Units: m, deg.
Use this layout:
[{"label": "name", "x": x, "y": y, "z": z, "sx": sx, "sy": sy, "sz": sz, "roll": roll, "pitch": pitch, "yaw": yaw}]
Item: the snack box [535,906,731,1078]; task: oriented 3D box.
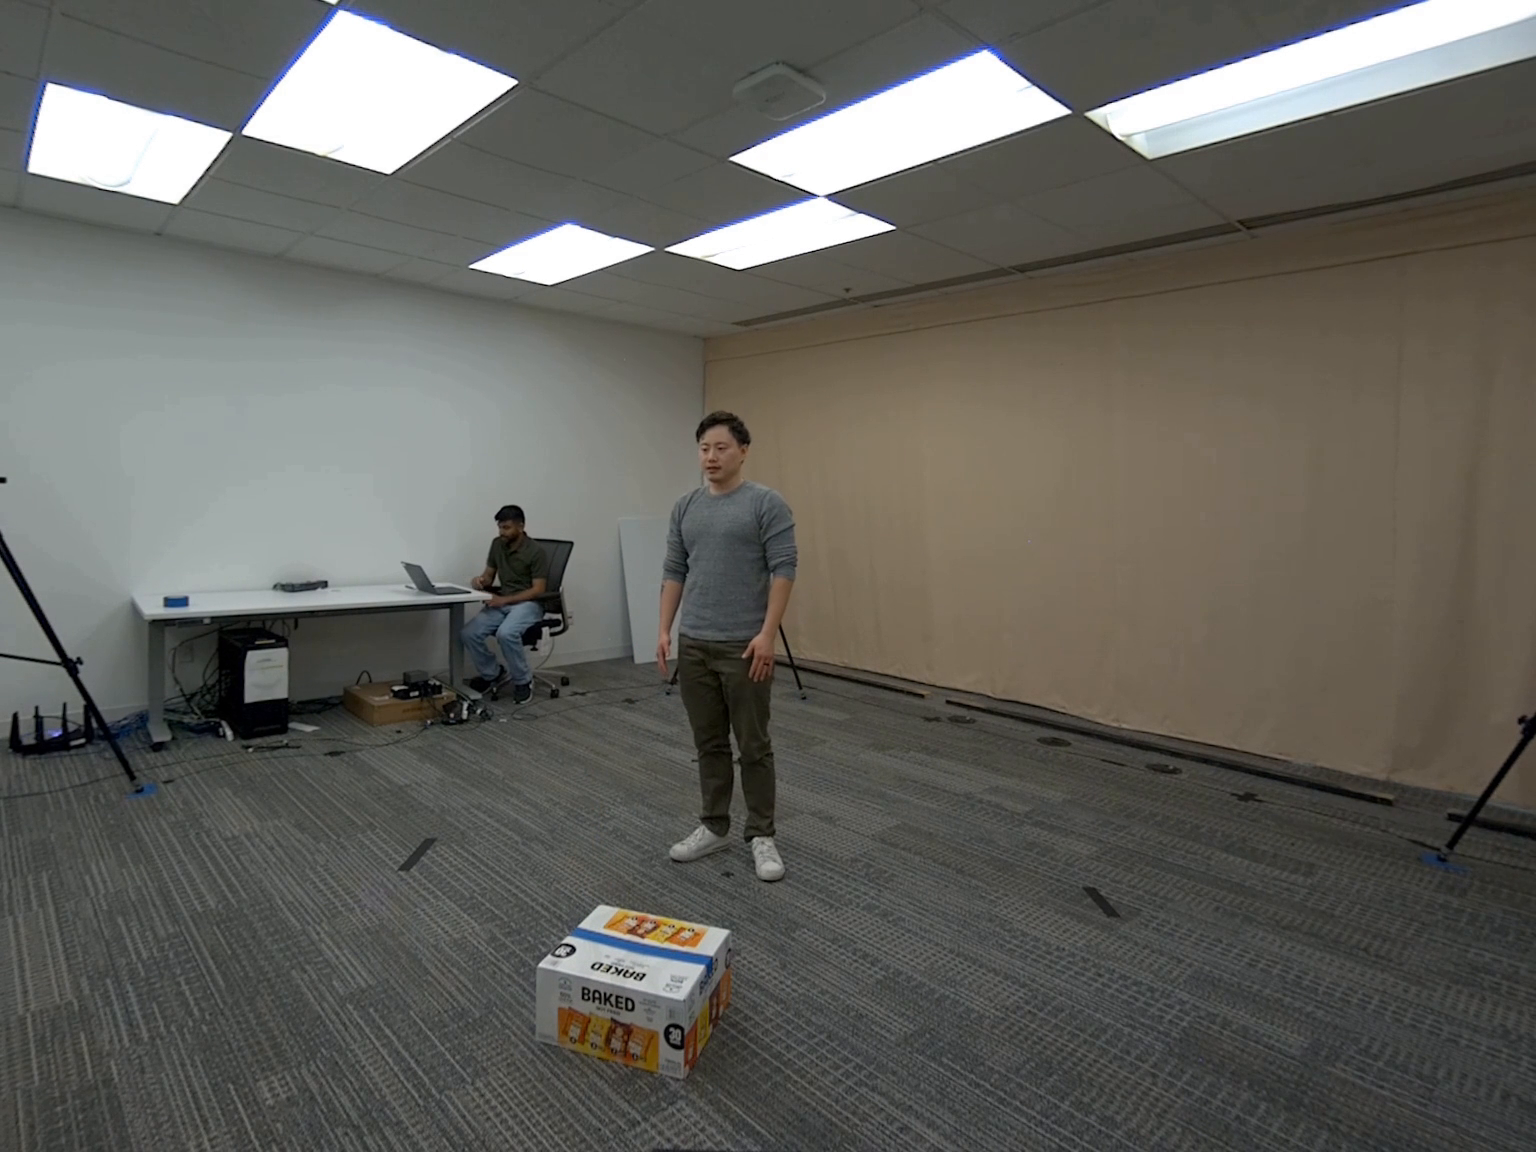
[{"label": "snack box", "x": -0.351, "y": 1.074, "z": 2.222, "sx": 0.411, "sy": 0.205, "sz": 0.336, "roll": 3, "pitch": 5, "yaw": 17}]
